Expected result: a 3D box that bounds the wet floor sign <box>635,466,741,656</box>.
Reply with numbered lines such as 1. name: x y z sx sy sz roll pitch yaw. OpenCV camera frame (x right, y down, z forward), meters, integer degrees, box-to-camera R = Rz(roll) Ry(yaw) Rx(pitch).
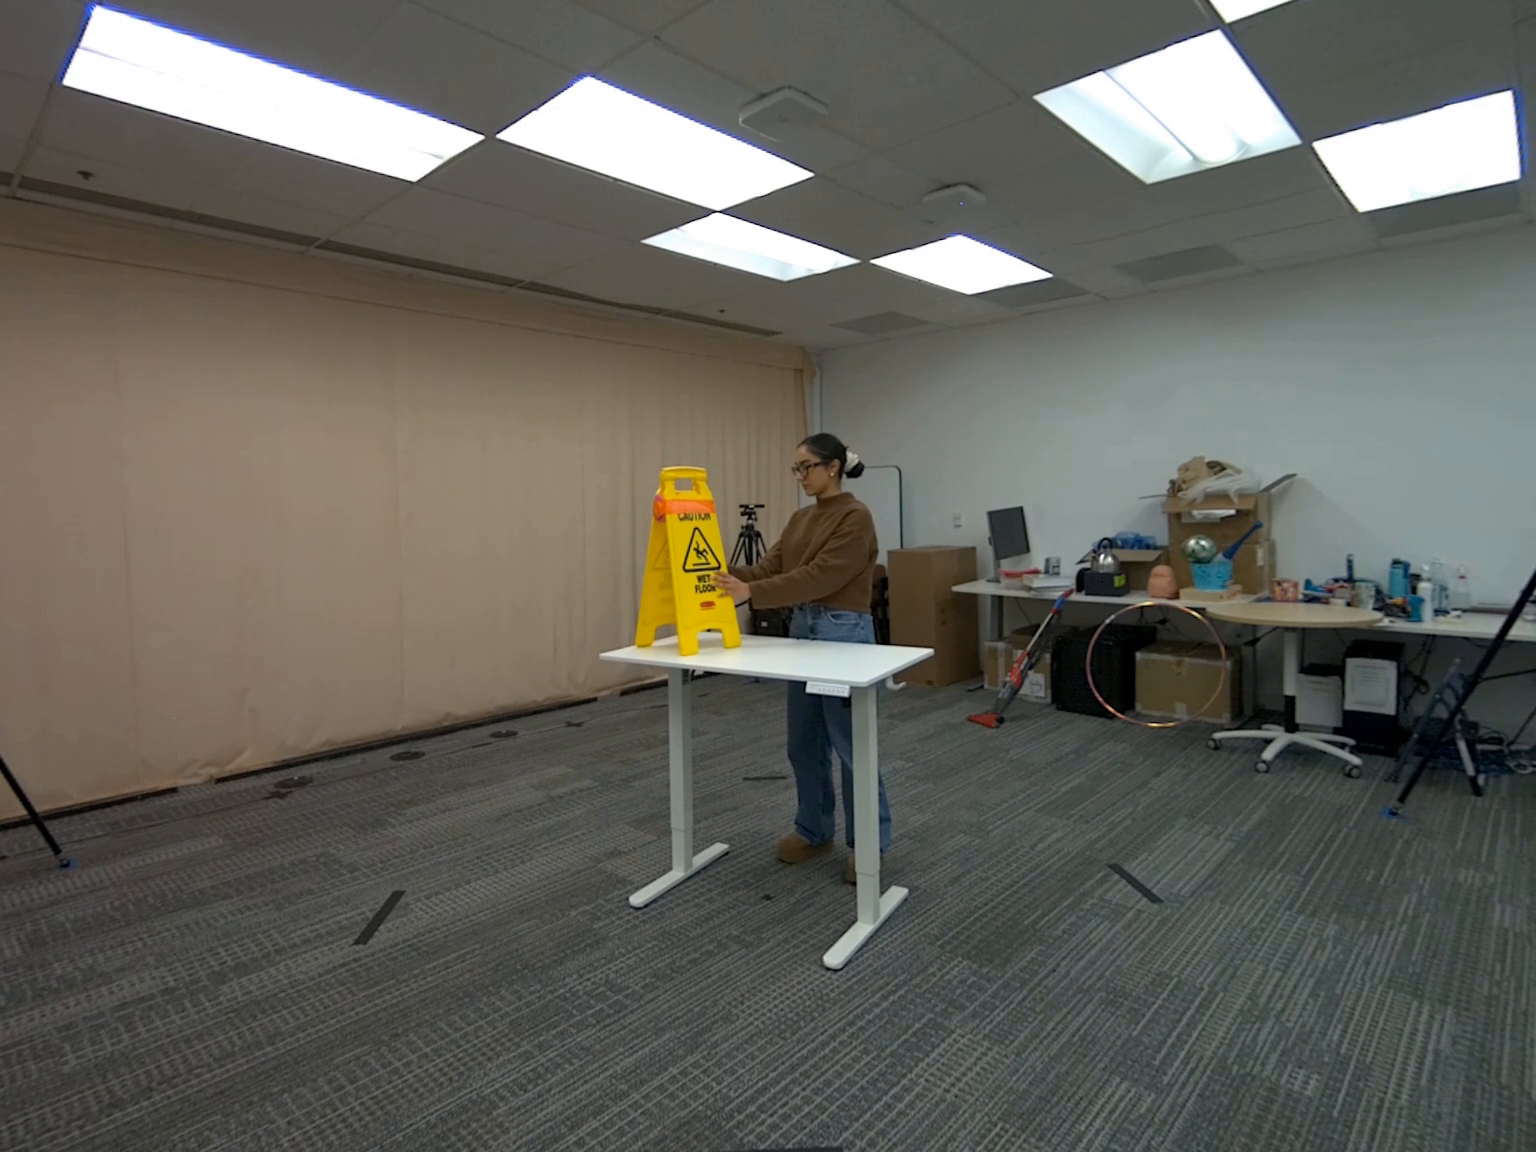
1. wet floor sign: -0.292 -0.064 3.041 0.274 0.644 0.299 -5 5 -44
